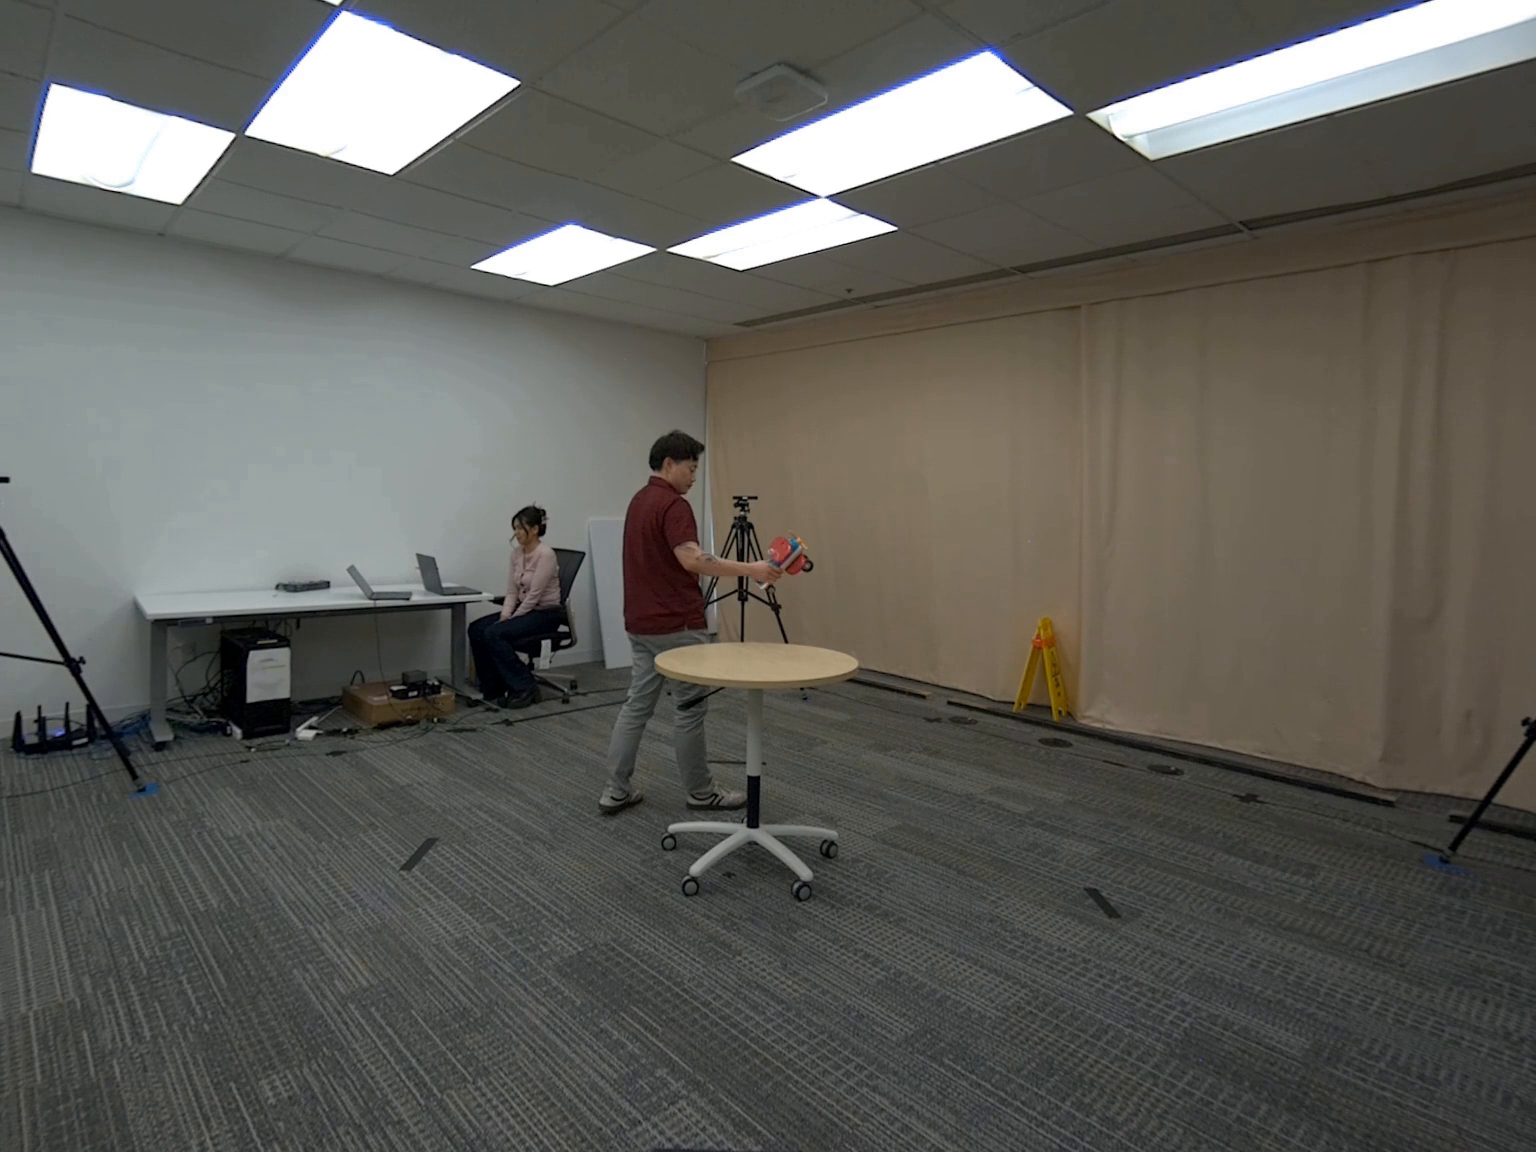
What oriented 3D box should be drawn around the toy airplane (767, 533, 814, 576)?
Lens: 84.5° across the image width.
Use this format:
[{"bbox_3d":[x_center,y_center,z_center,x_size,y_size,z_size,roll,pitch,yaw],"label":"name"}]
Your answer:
[{"bbox_3d":[0.056,-0.044,3.470,0.258,0.154,0.256,-41,18,-25],"label":"toy airplane"}]
